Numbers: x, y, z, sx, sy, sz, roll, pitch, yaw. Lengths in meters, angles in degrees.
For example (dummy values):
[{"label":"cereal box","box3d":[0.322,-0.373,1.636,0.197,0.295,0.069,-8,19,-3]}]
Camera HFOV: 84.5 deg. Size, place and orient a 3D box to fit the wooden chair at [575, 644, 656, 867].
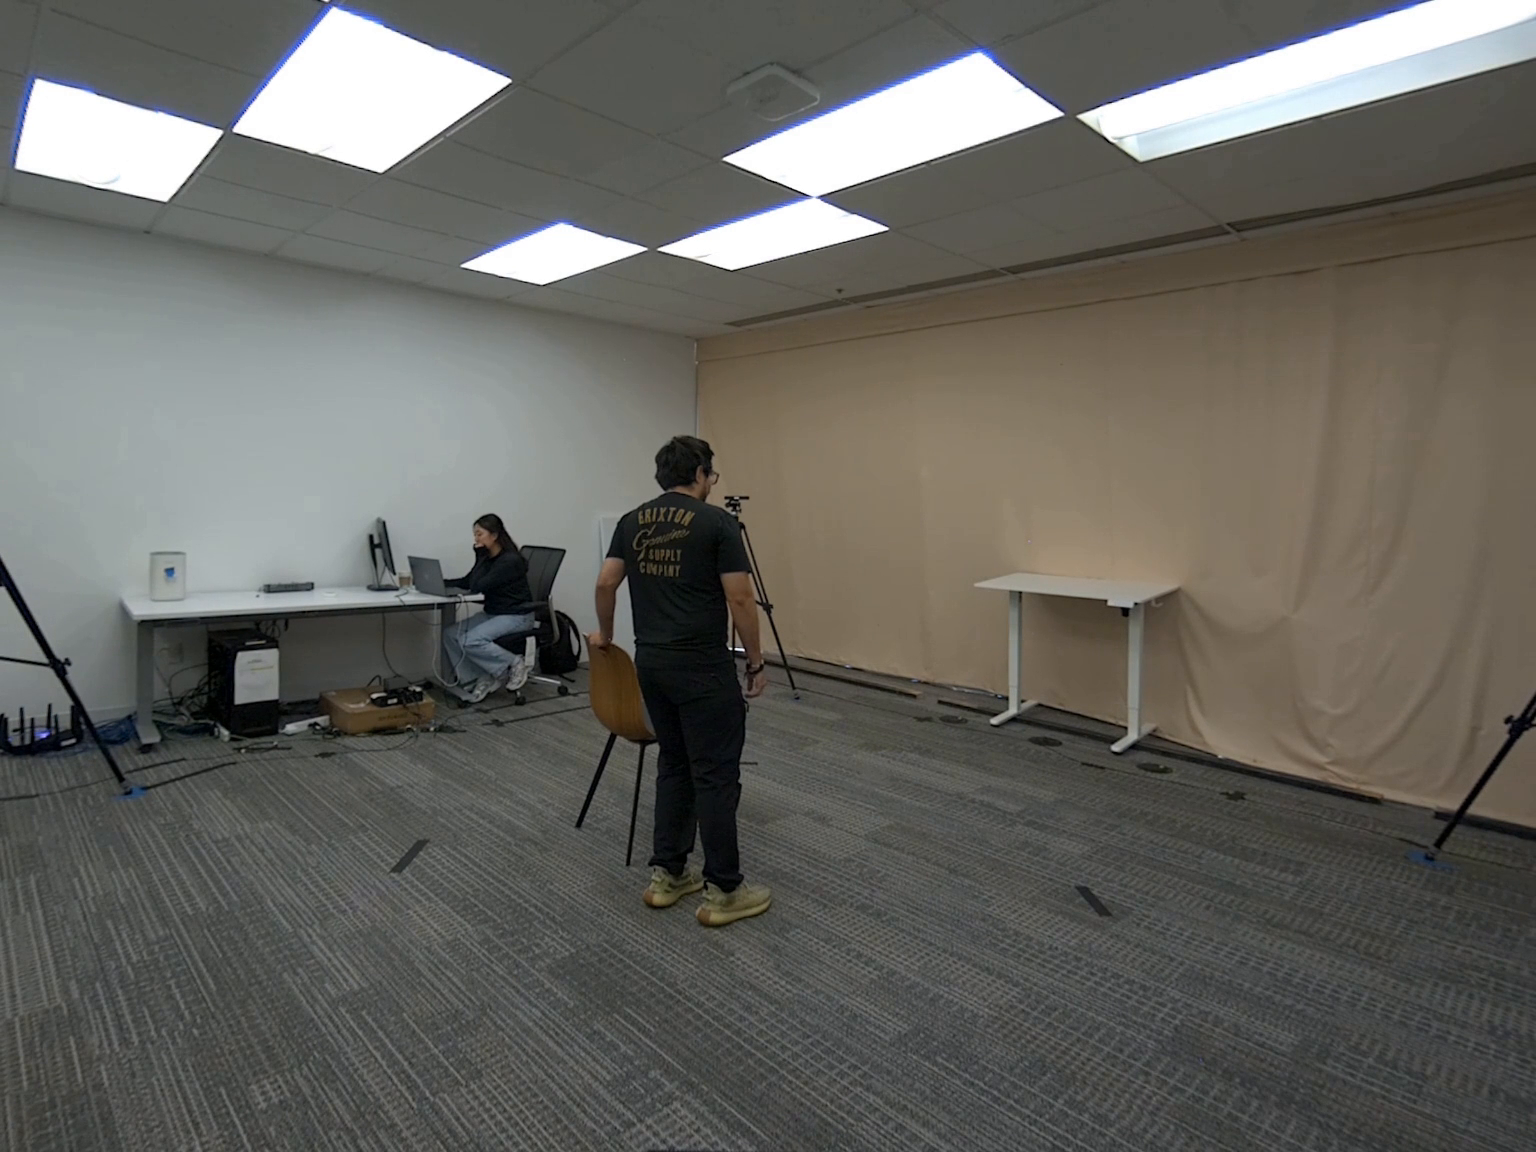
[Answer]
[{"label":"wooden chair","box3d":[-0.480,0.640,3.448,0.512,0.873,0.490,-6,8,-37]}]
